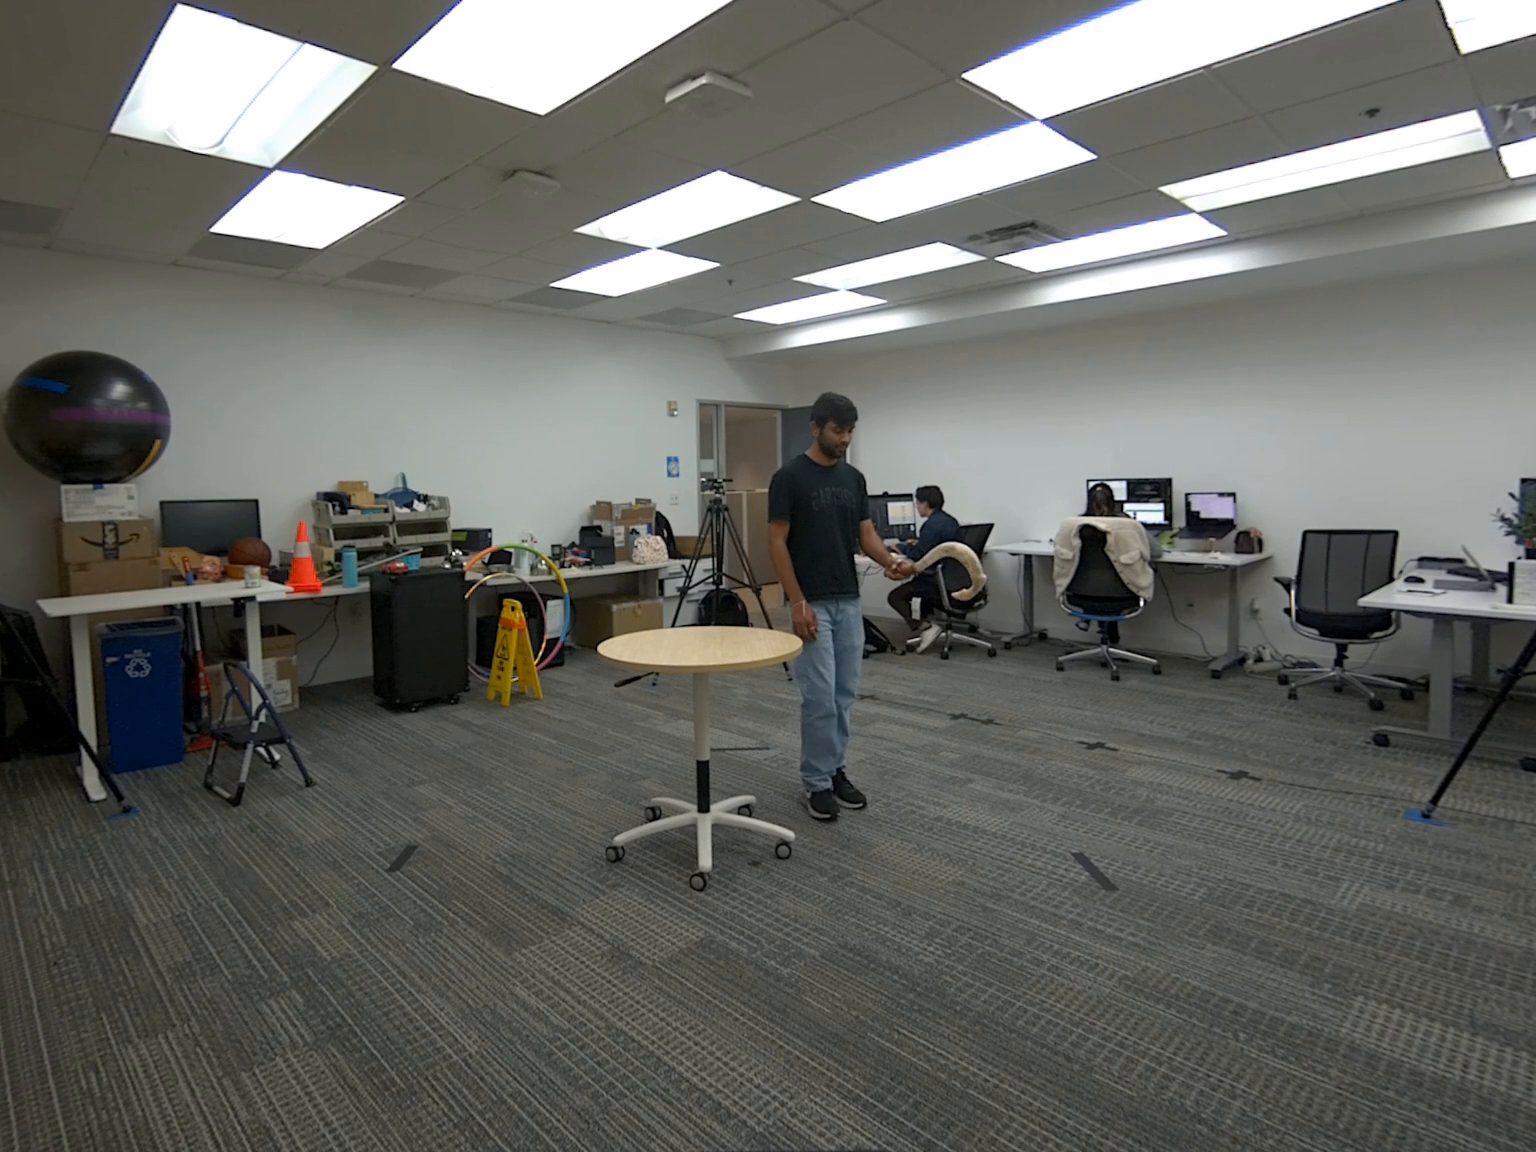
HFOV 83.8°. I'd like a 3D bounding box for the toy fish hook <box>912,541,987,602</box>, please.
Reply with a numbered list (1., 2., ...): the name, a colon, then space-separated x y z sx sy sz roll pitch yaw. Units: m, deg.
1. toy fish hook: 0.616 0.026 3.225 0.047 0.224 0.514 -21 2 -29
